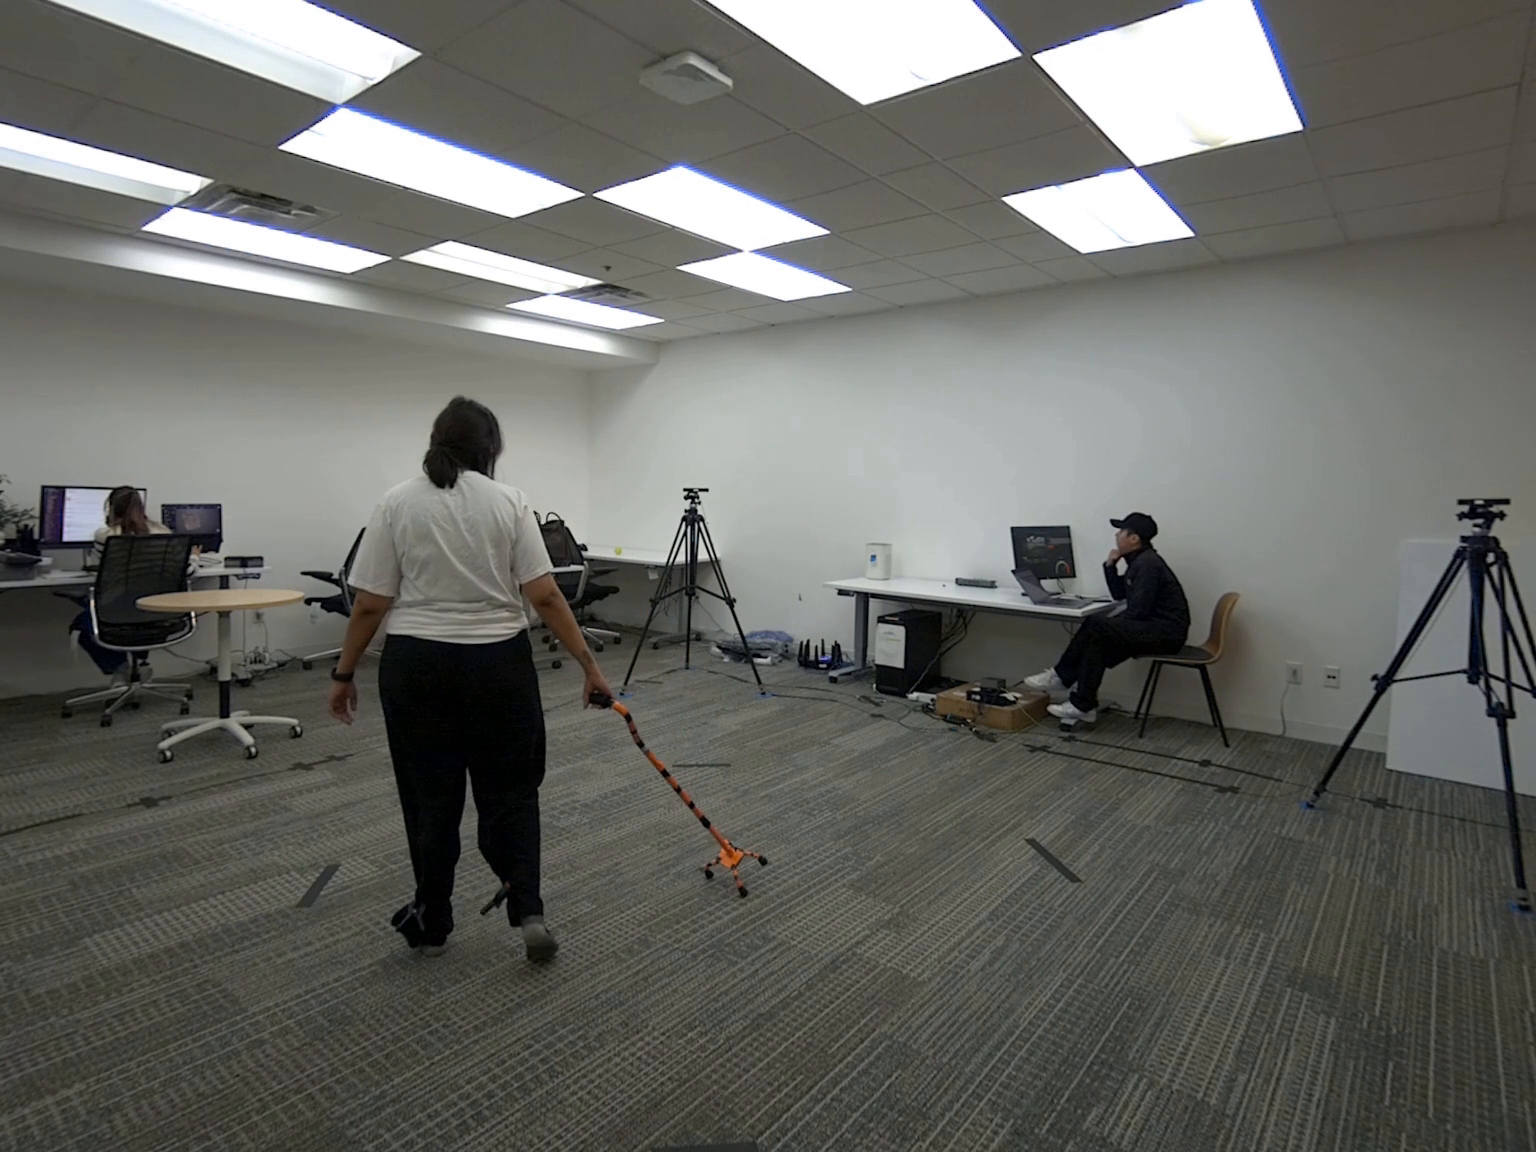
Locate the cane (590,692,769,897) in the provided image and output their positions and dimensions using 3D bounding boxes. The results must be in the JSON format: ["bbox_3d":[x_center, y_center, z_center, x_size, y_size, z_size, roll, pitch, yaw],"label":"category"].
[{"bbox_3d":[-0.319,0.710,2.792,0.213,0.877,0.152,3,44,46],"label":"cane"}]
